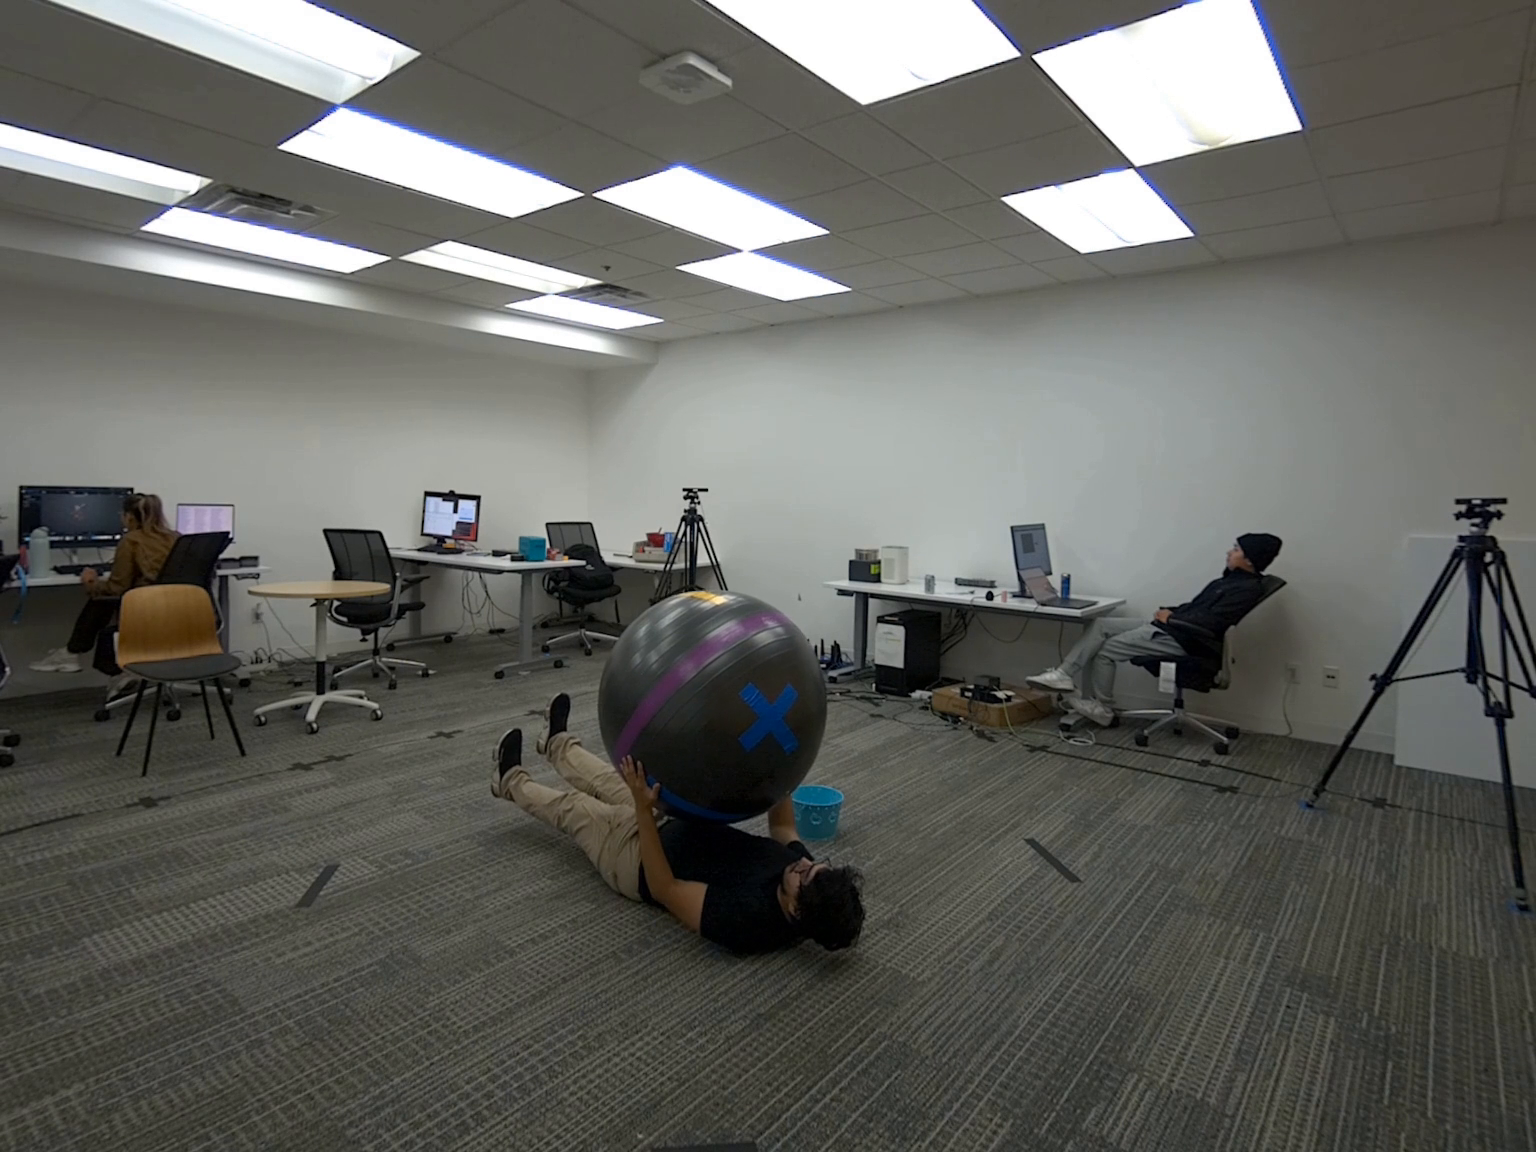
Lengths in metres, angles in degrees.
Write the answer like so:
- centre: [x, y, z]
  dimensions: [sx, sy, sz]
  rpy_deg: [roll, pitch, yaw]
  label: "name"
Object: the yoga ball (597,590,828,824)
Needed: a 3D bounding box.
- centre: [-0.193, 0.427, 2.817]
  dimensions: [0.757, 0.756, 0.761]
  rpy_deg: [0, 4, -2]
  label: "yoga ball"
